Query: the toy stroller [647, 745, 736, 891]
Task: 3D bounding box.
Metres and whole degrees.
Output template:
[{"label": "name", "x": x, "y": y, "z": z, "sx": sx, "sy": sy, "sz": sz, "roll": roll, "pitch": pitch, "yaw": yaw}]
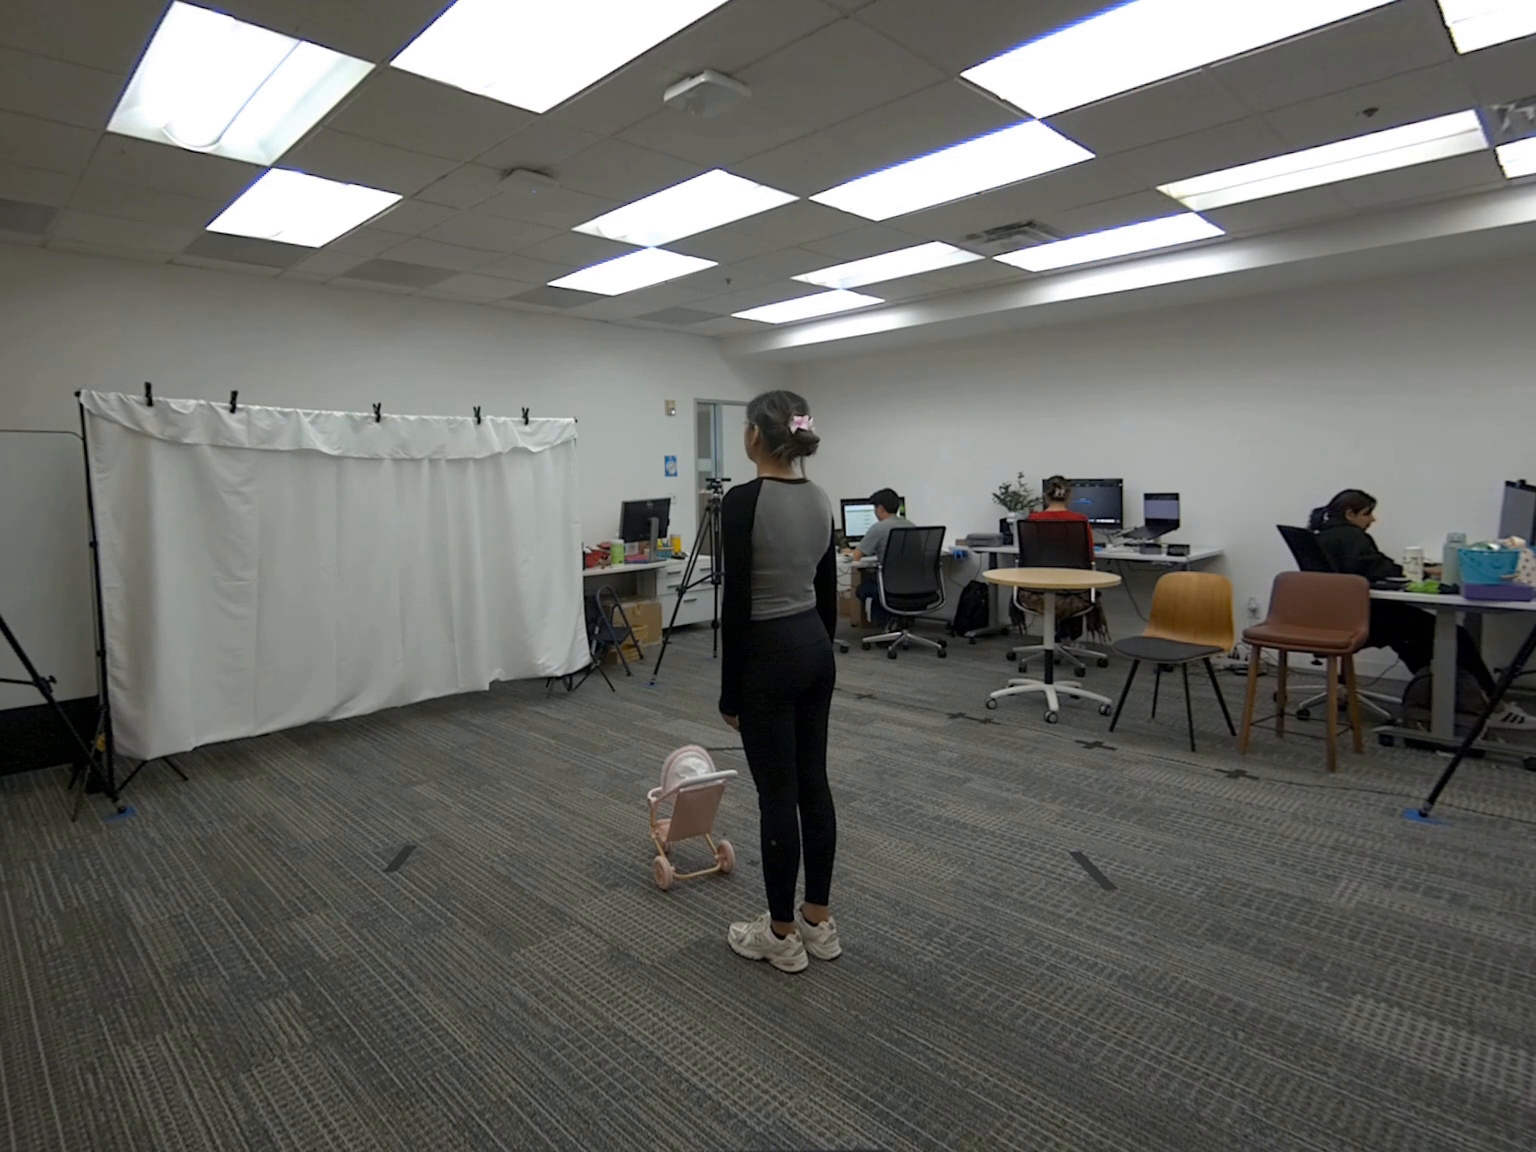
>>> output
[{"label": "toy stroller", "x": -0.286, "y": 0.832, "z": 3.023, "sx": 0.275, "sy": 0.527, "sz": 0.354, "roll": -3, "pitch": 22, "yaw": -26}]
